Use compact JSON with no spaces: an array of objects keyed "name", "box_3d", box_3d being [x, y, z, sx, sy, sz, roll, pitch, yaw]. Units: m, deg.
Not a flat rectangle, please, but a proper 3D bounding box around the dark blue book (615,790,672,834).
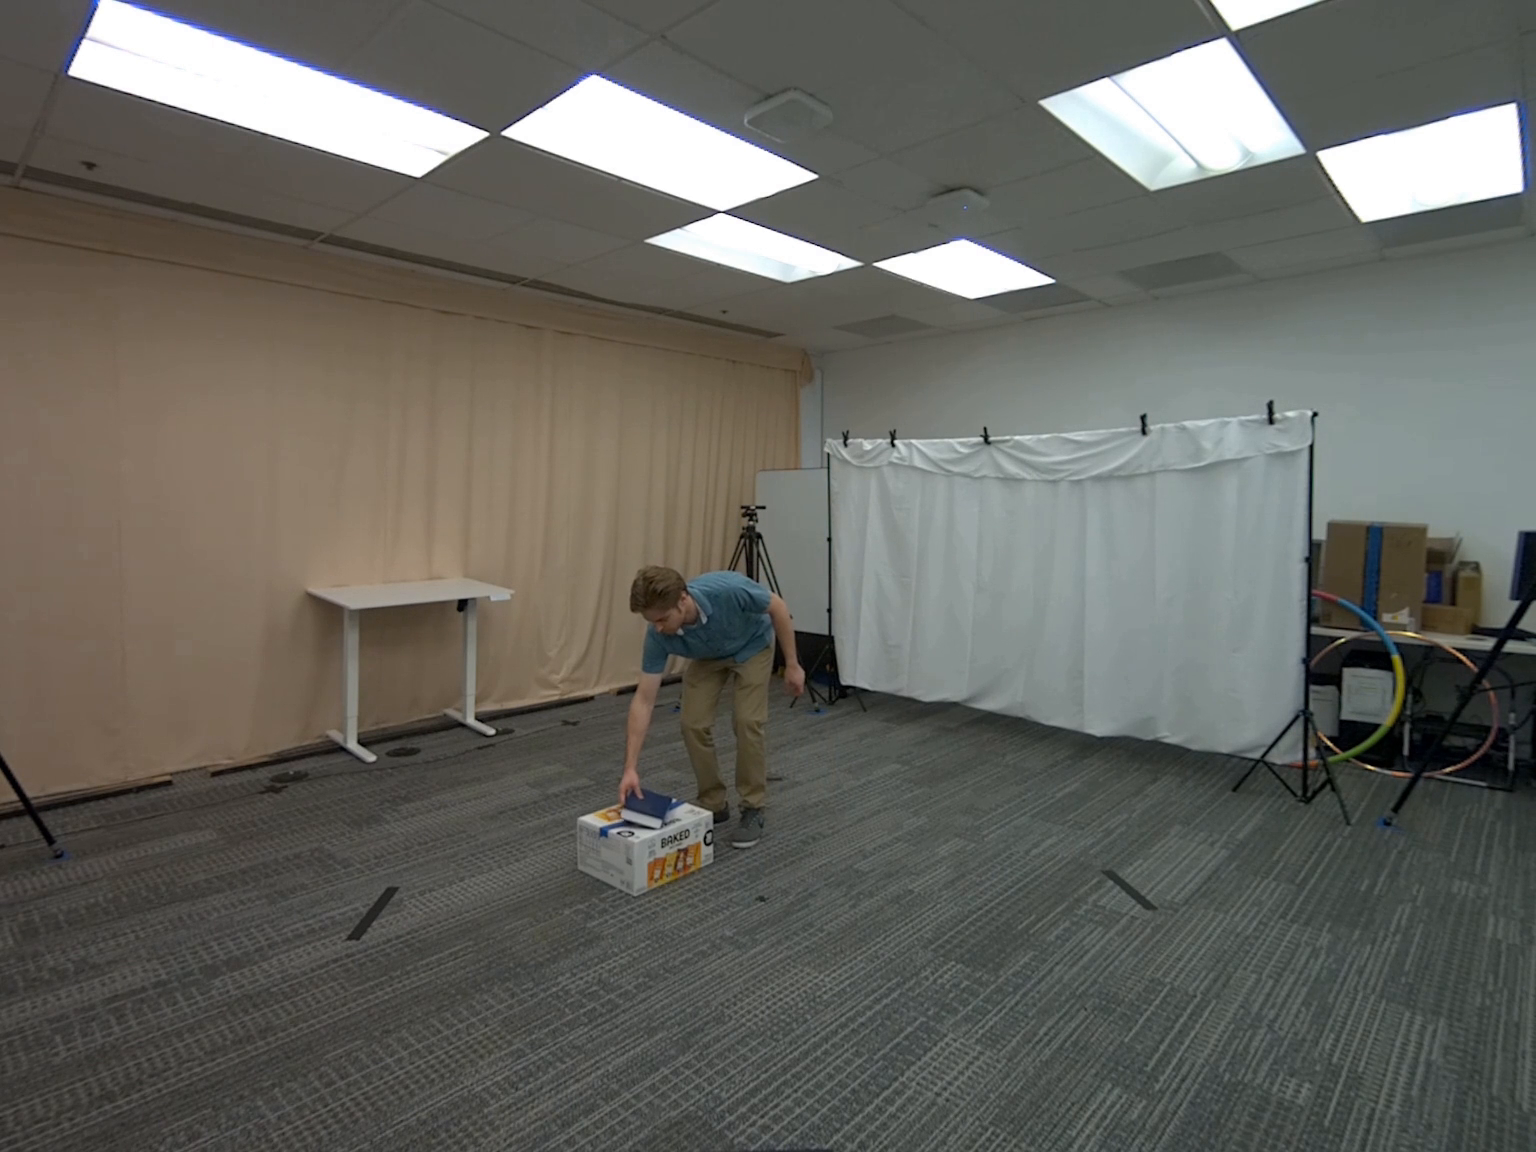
[{"name":"dark blue book","box_3d":[-0.473,0.889,3.230,0.164,0.045,0.244,16,4,2]}]
